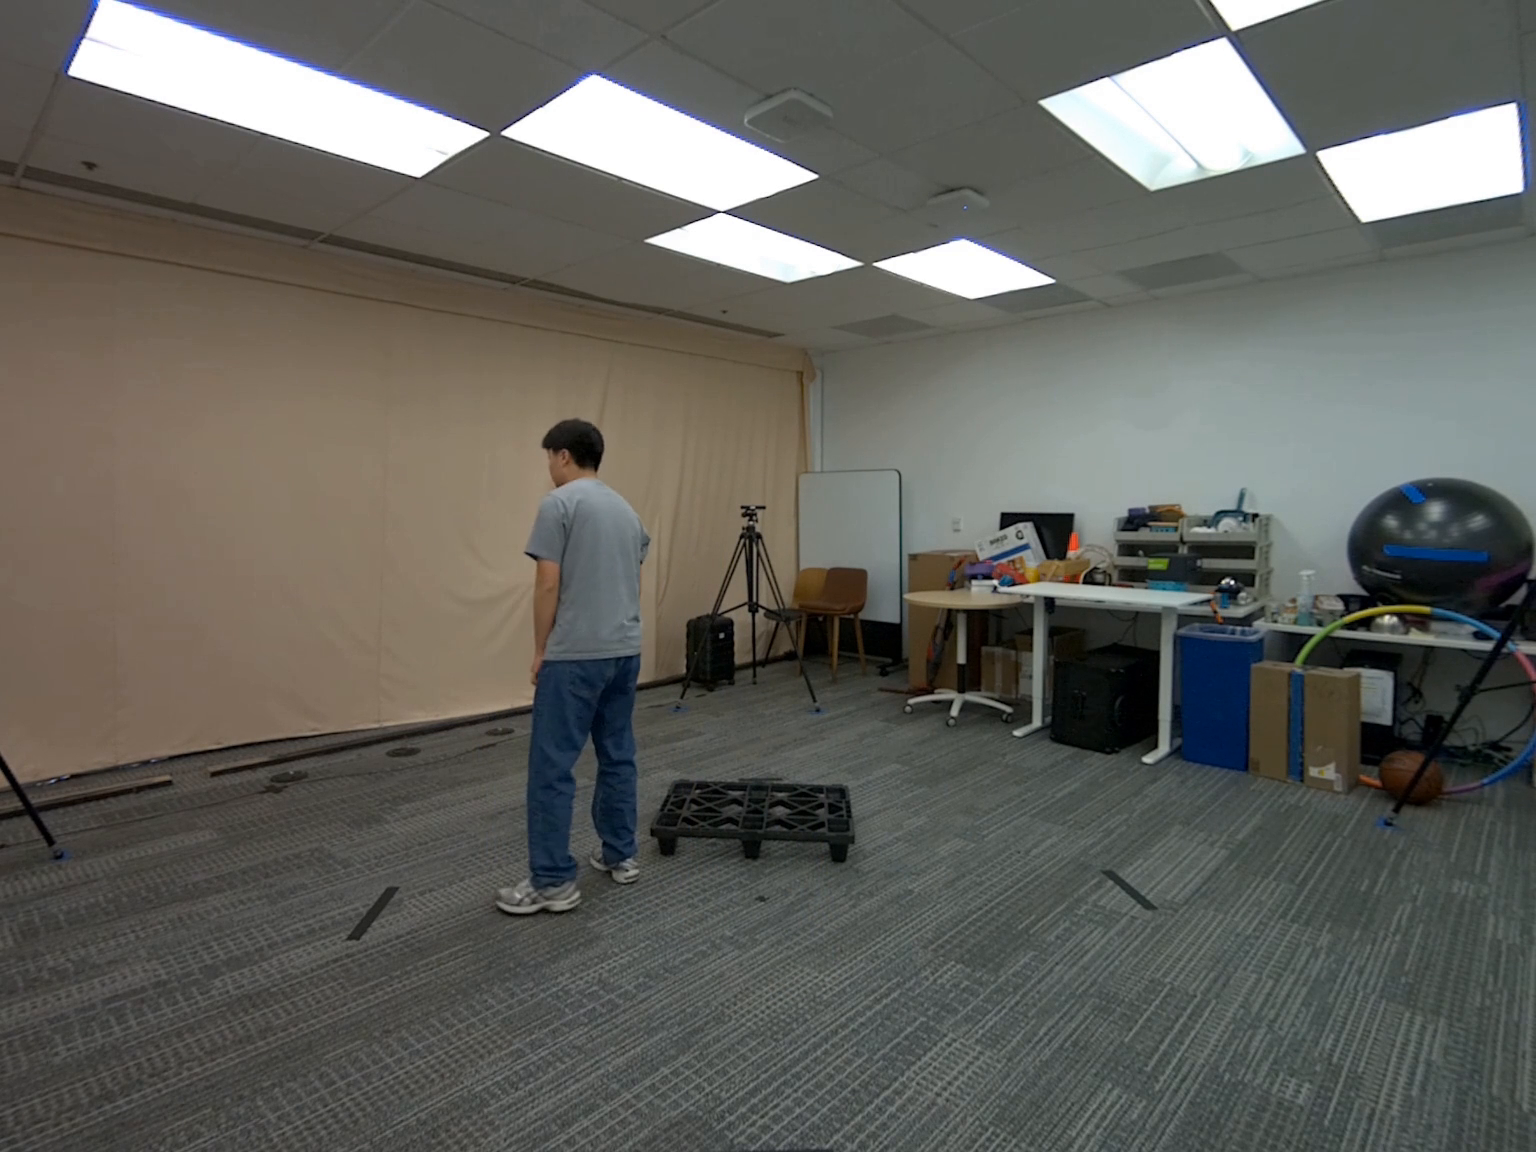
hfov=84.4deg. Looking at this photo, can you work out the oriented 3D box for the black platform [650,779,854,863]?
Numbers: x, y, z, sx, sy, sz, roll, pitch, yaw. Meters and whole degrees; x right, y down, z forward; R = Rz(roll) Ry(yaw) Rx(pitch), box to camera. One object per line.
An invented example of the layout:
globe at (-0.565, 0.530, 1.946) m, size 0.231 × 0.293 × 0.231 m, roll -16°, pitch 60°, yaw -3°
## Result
black platform at (-0.047, 1.026, 3.539) m, size 0.811 × 0.143 × 0.603 m, roll 0°, pitch 4°, yaw 5°
